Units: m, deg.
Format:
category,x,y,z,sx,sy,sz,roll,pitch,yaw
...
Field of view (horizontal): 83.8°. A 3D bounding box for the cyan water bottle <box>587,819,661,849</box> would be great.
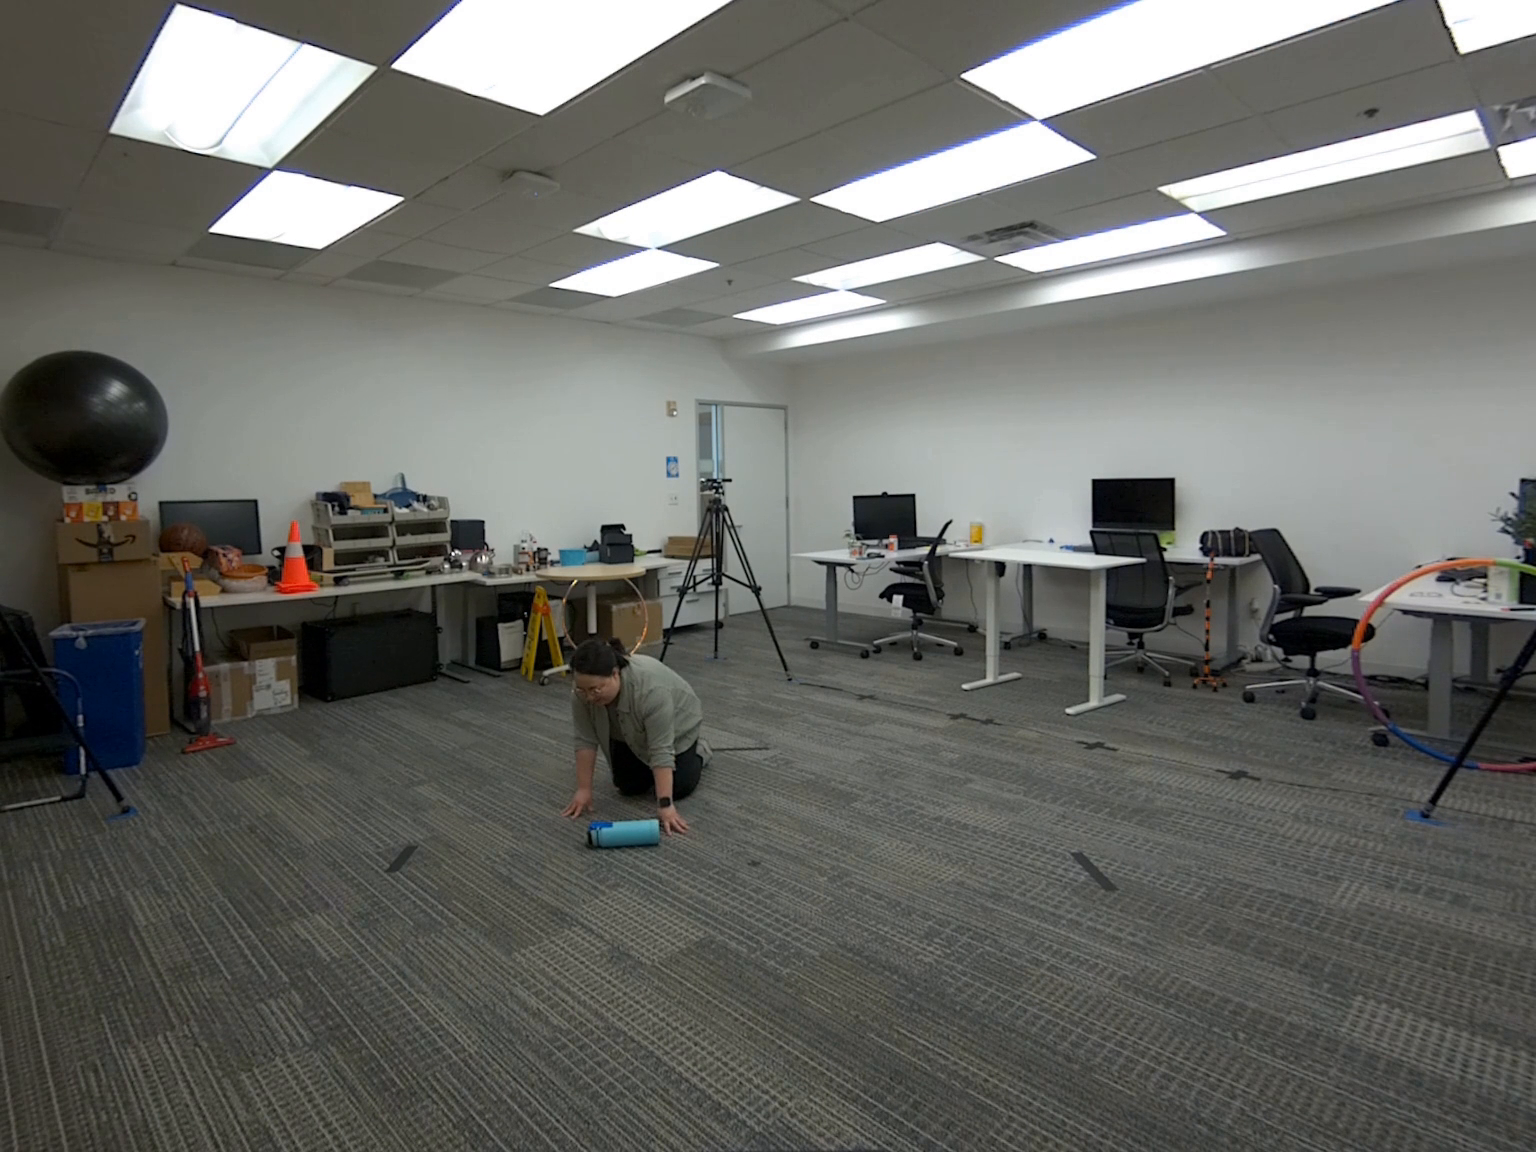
category,x,y,z,sx,sy,sz,roll,pitch,yaw
cyan water bottle,-0.564,0.990,3.279,0.282,0.092,0.093,-2,5,-5
